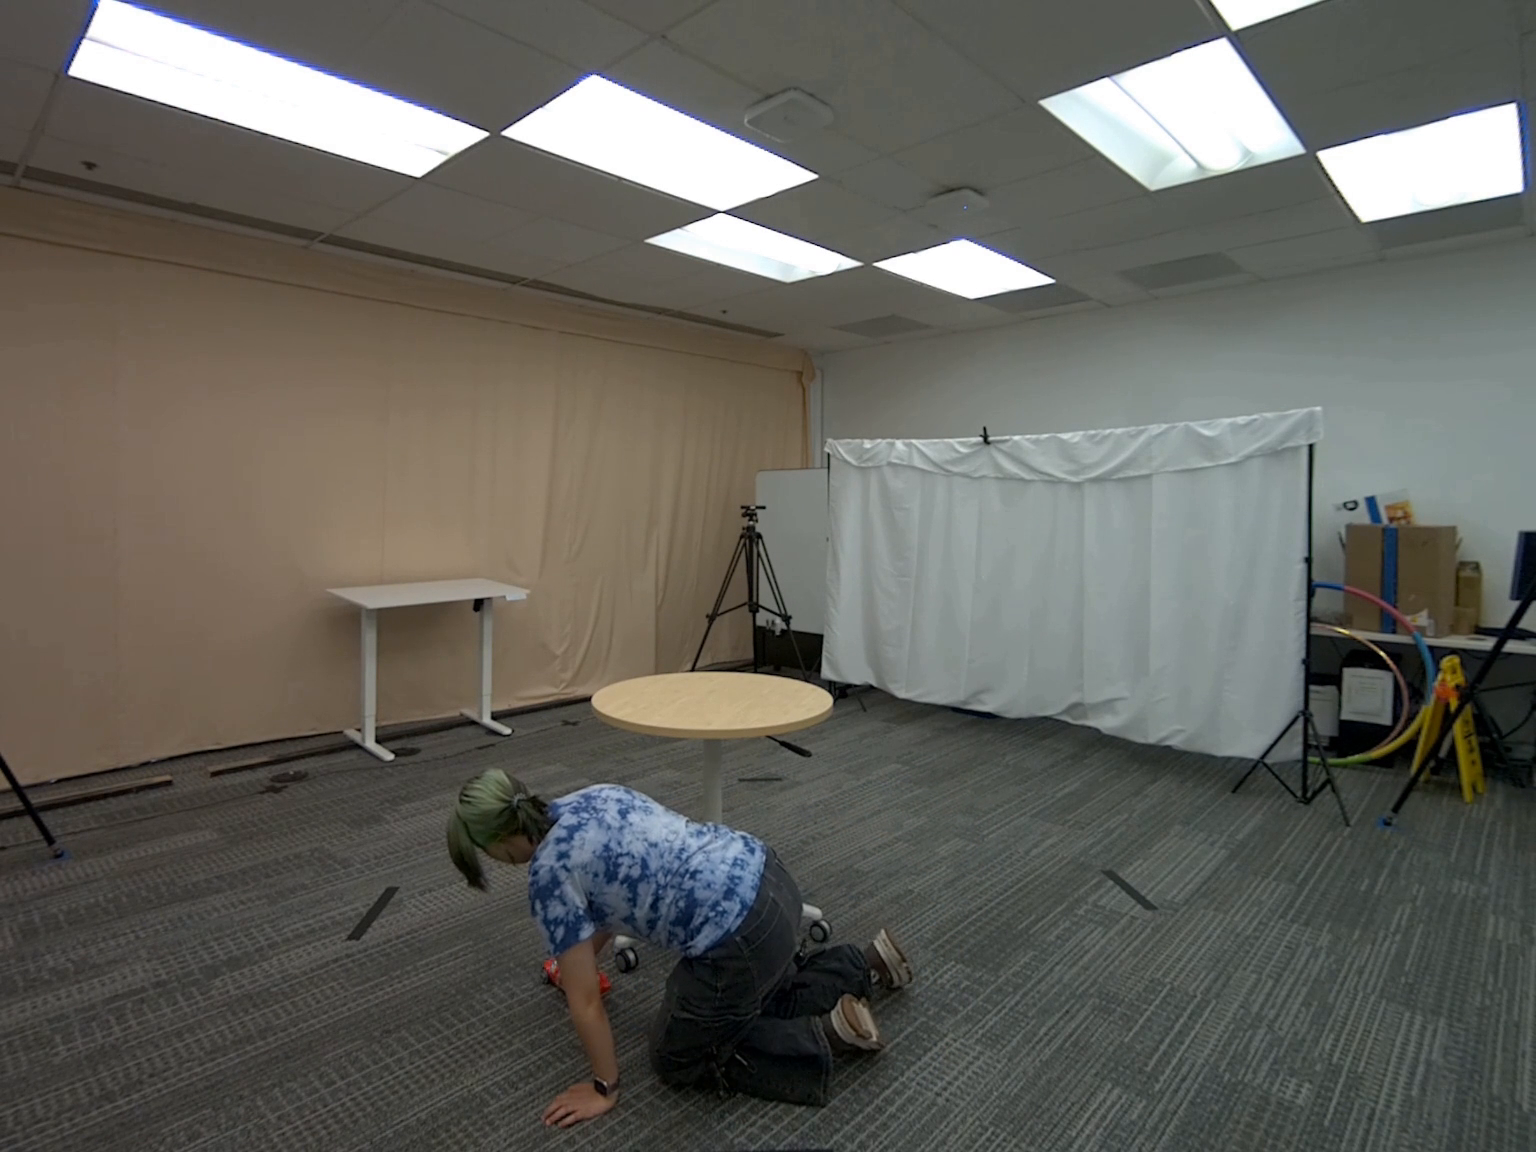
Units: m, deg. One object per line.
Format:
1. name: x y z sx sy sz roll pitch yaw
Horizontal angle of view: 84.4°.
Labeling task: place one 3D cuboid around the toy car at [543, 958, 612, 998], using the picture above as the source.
1. toy car: -0.555 1.171 2.415 0.126 0.083 0.262 -5 -2 -41
